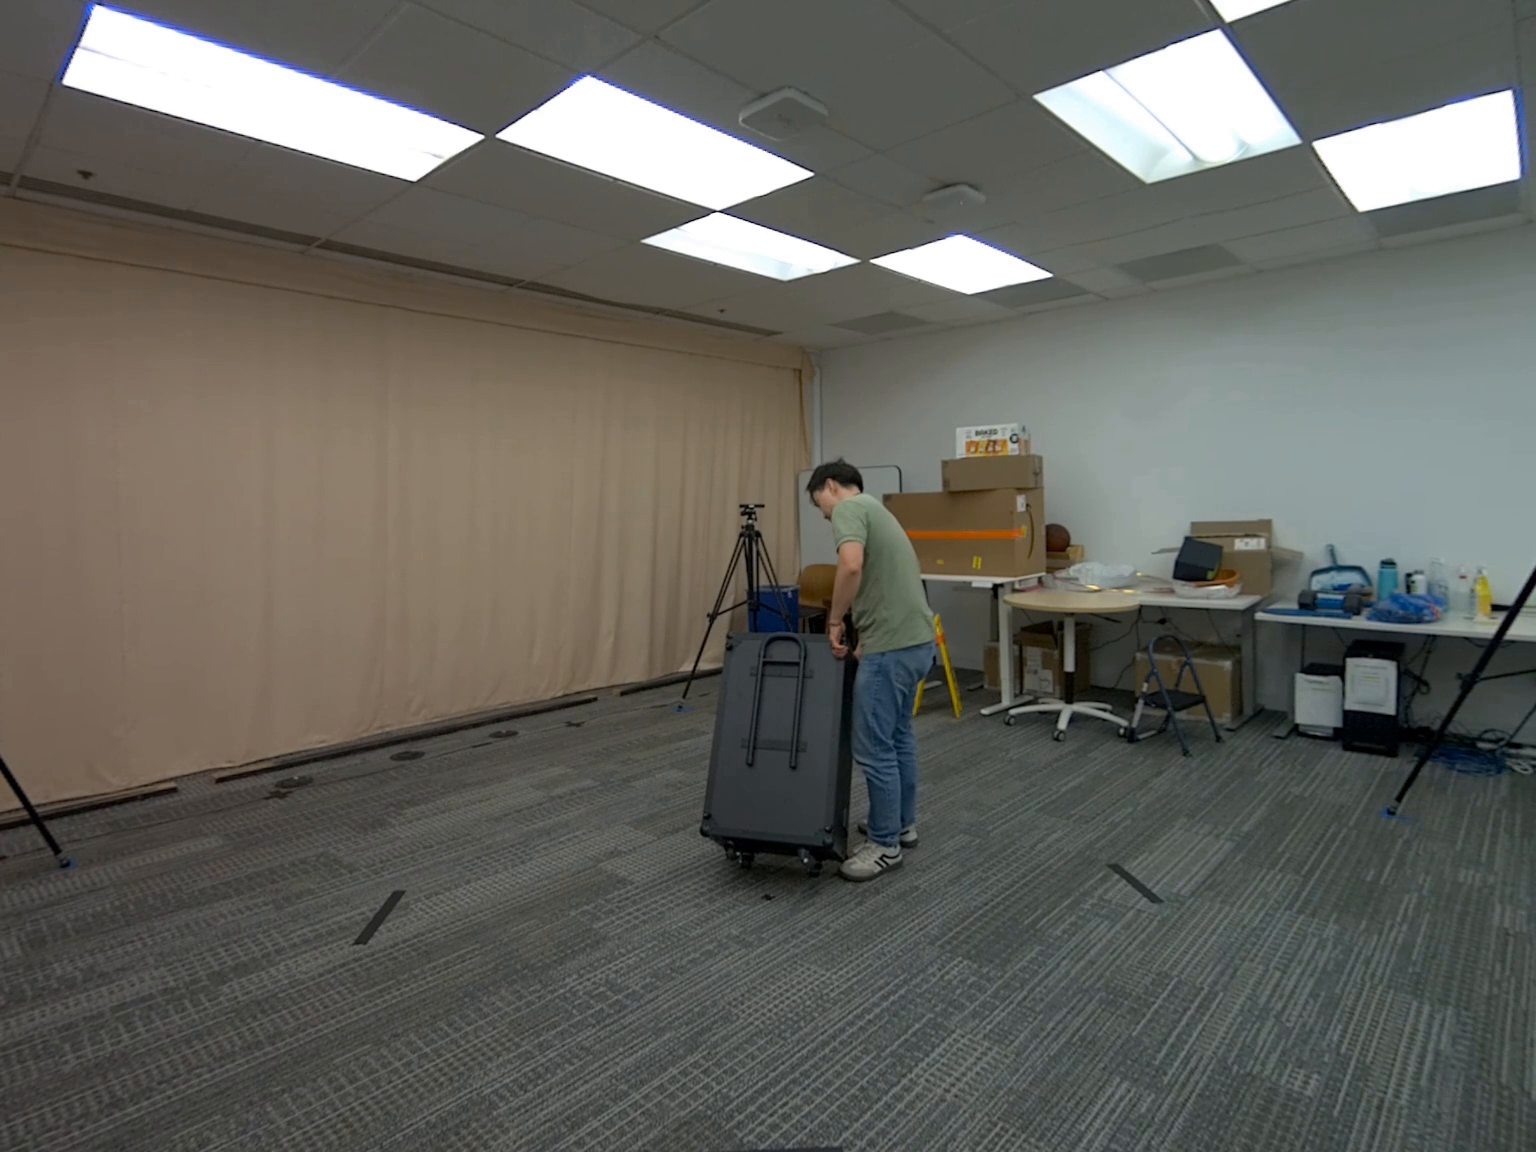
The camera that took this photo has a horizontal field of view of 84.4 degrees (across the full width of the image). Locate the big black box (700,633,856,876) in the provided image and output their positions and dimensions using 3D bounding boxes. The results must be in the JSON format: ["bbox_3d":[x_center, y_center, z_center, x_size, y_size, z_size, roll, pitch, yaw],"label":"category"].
[{"bbox_3d":[0.065,0.684,3.253,0.530,0.871,0.385,-1,-26,16],"label":"big black box"}]
